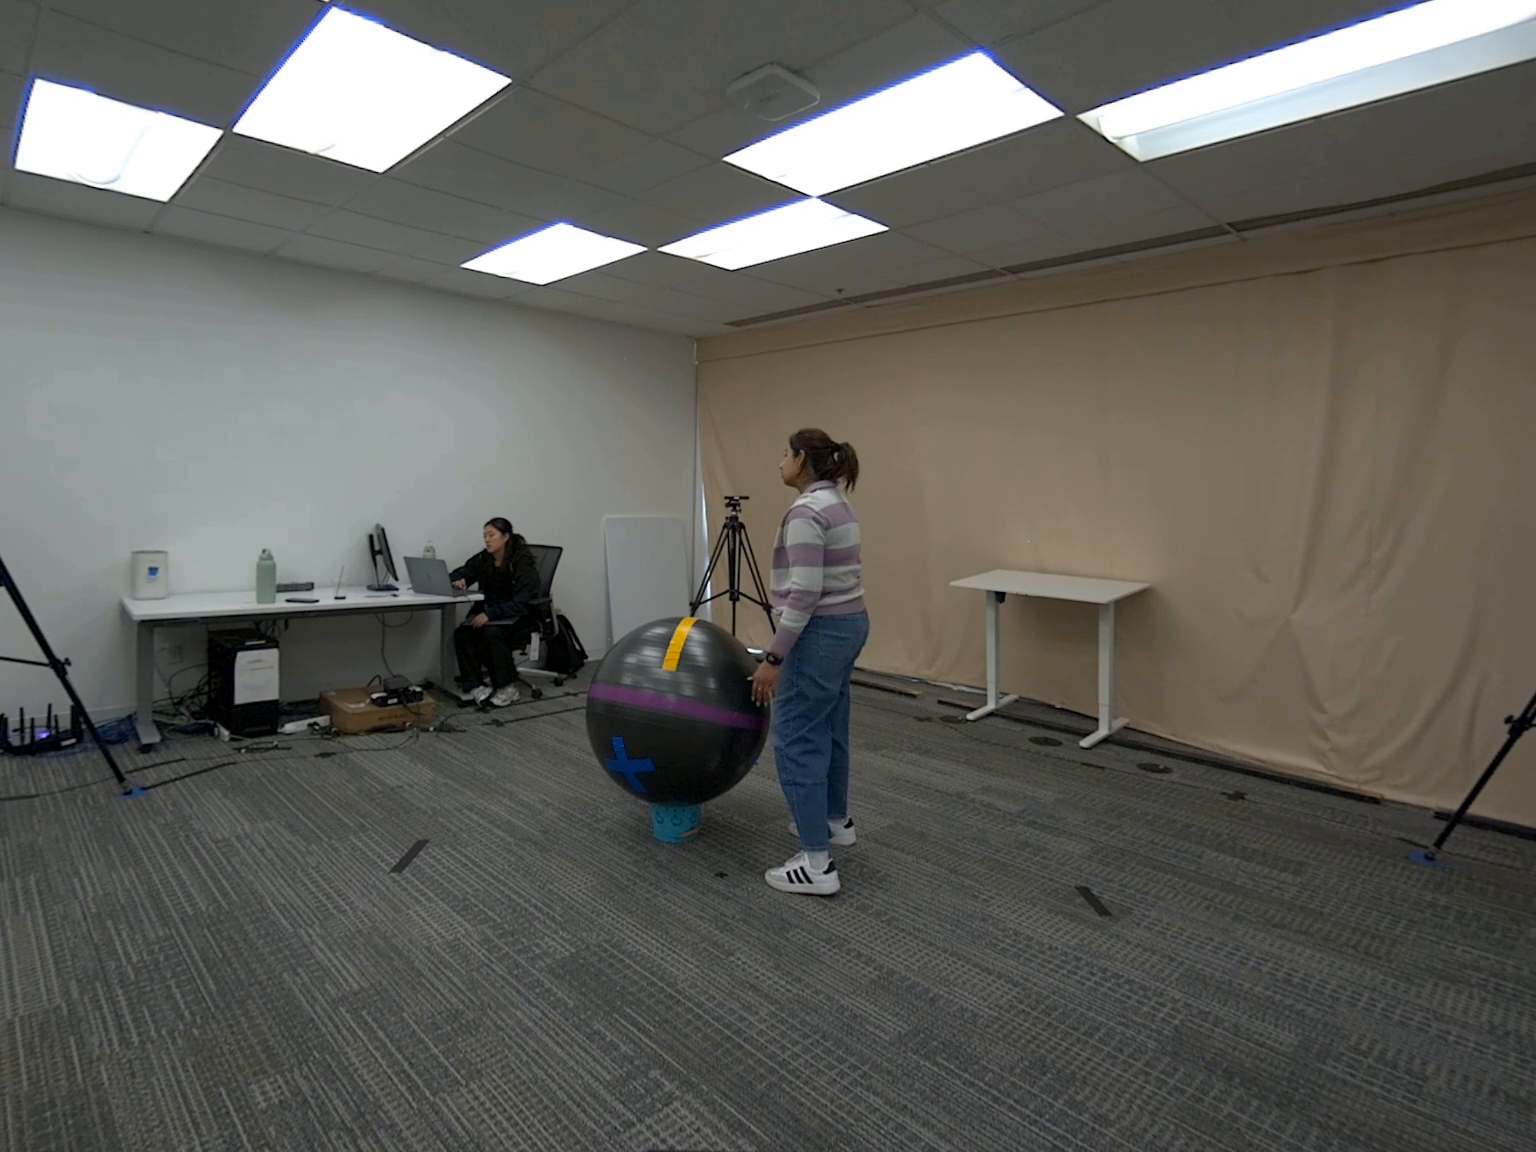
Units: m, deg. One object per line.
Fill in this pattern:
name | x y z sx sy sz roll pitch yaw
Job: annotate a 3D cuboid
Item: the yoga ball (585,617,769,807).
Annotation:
yoga ball | -0.382 0.555 3.476 0.757 0.756 0.761 1 4 -1
